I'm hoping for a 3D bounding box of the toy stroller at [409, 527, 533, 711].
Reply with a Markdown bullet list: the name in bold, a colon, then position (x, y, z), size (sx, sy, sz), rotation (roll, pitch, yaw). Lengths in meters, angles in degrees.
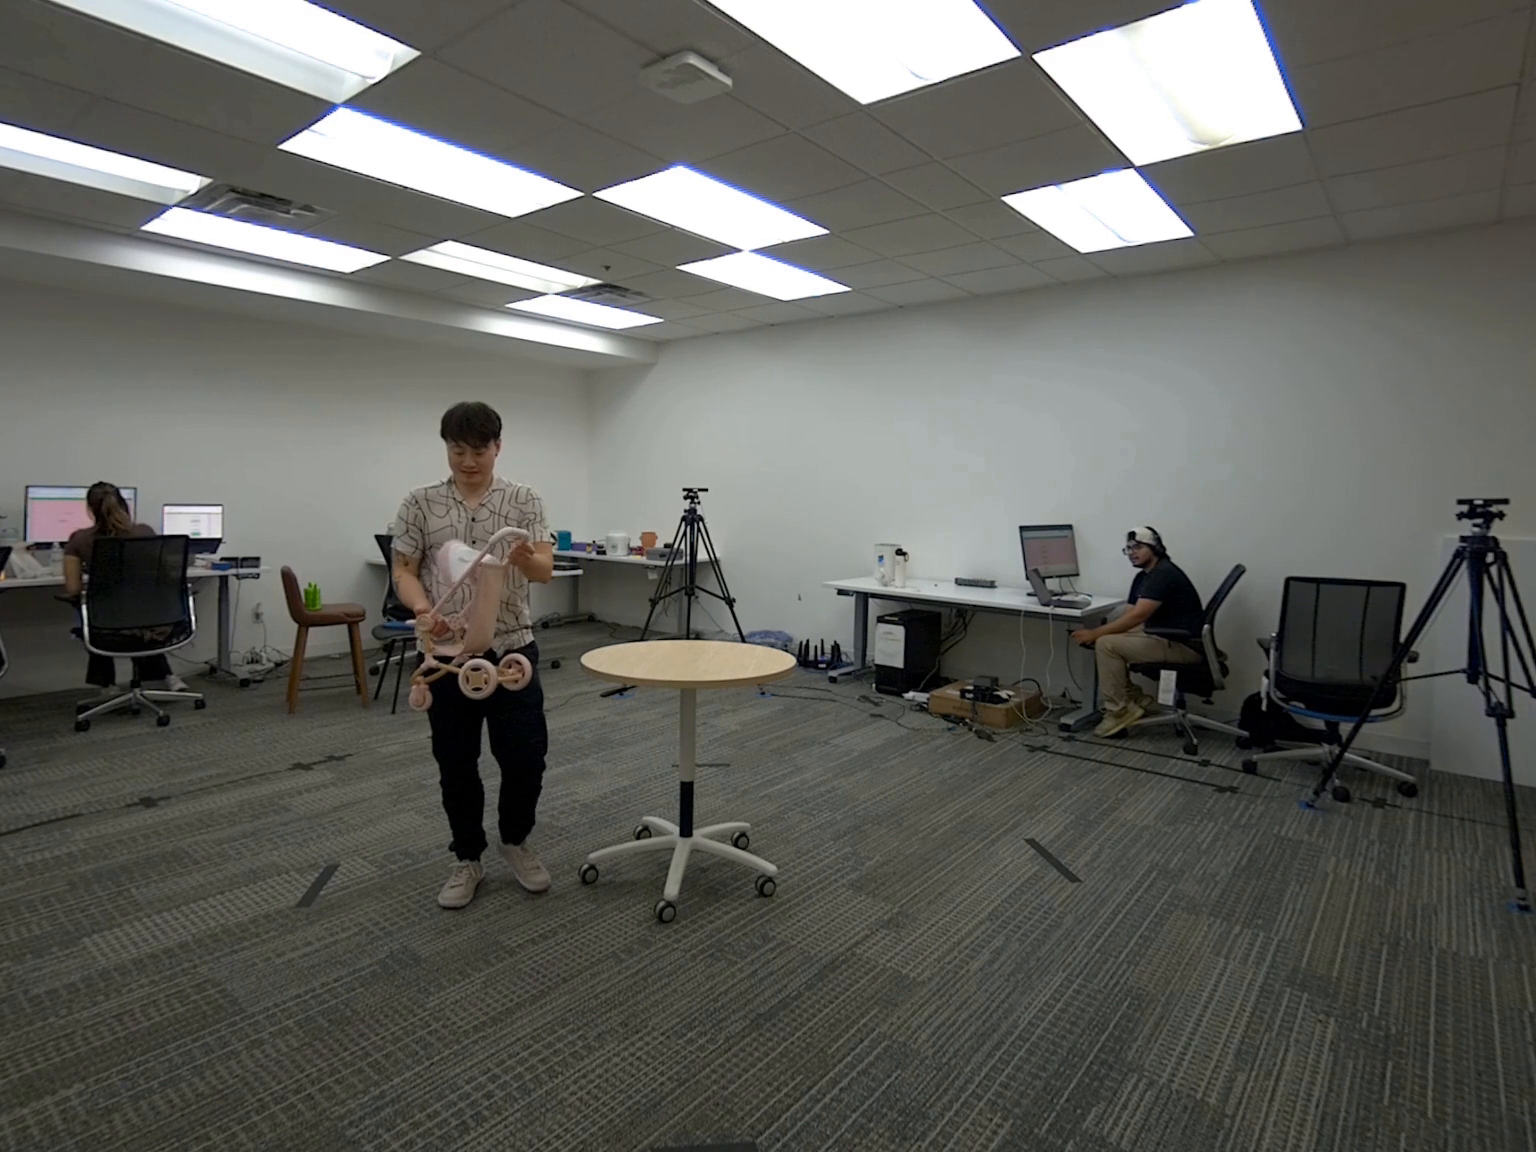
- **toy stroller**: position (-0.901, 0.128, 2.491), size (0.346, 0.537, 0.276), rotation (1, -4, 13)
